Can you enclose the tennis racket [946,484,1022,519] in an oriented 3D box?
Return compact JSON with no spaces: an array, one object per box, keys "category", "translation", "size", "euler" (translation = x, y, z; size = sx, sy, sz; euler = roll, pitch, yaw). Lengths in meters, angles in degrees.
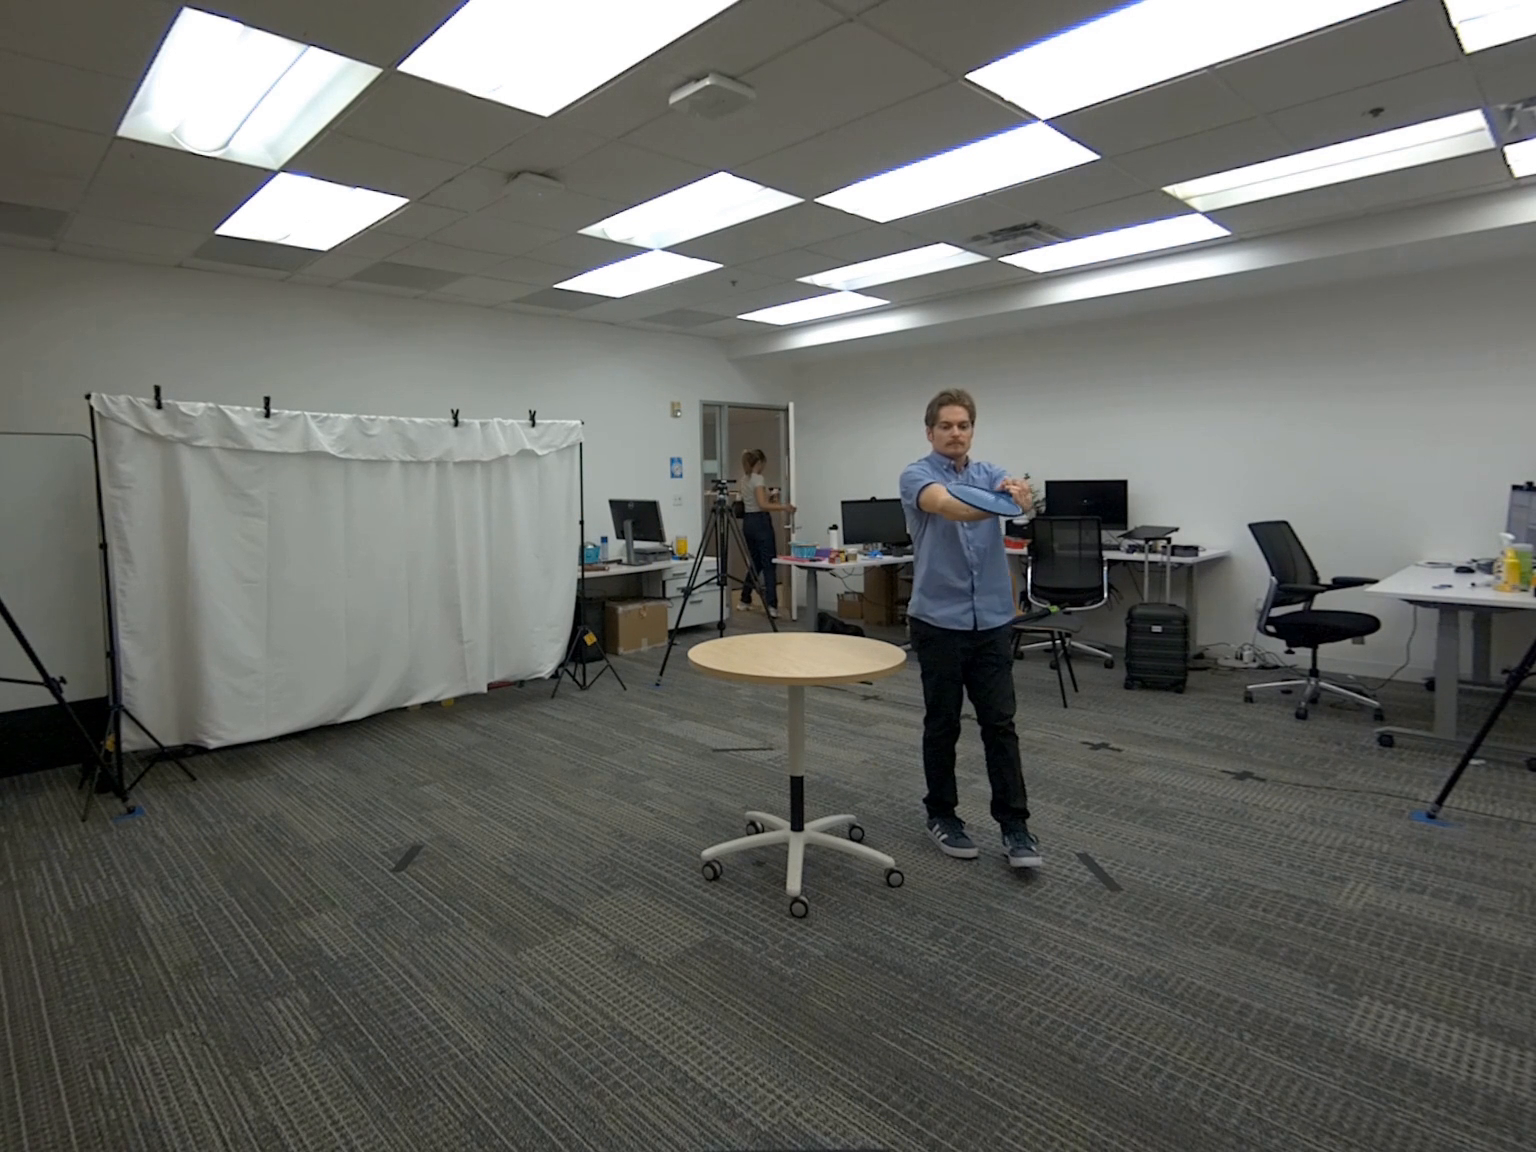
[{"category":"tennis racket","translation":[0.663,-0.232,2.510],"size":[0.221,0.031,0.423],"euler":[34,26,28]}]
